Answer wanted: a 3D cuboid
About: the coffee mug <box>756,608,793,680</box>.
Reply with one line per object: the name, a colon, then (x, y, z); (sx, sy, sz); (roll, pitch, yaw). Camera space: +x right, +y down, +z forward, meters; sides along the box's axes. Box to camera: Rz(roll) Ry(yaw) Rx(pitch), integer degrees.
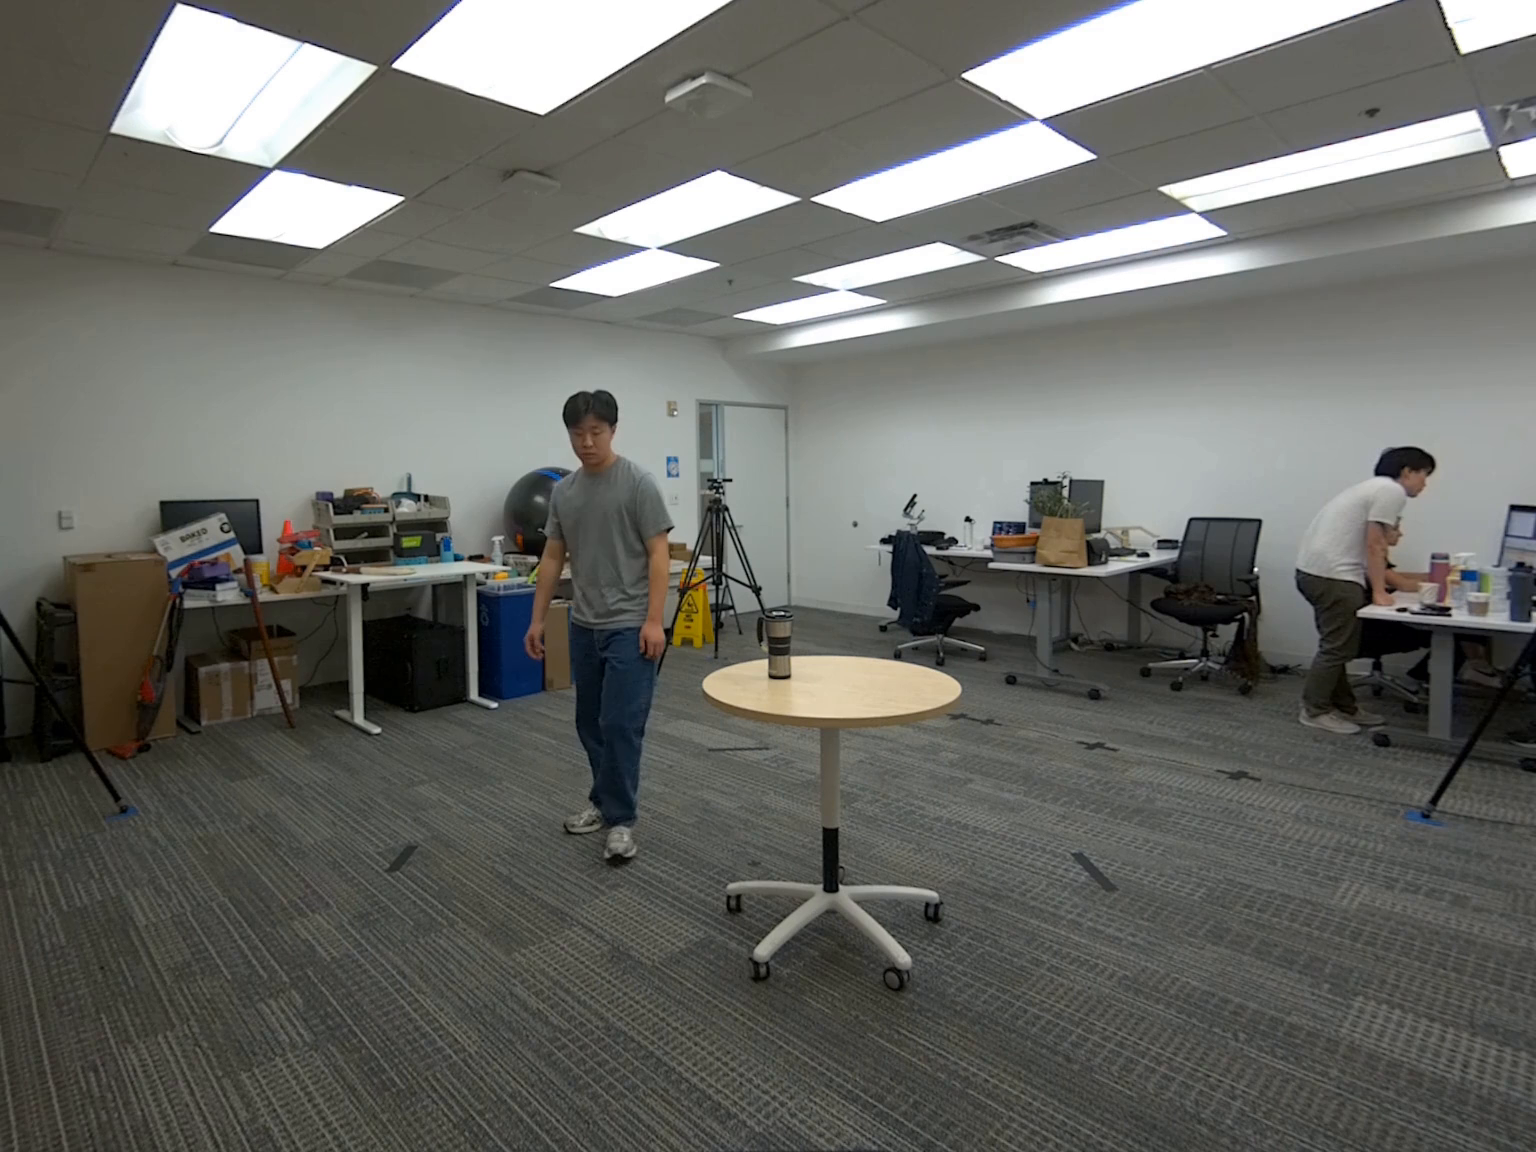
coffee mug: (0.030, 0.212, 2.656); (0.086, 0.201, 0.125); (-7, 10, -26)
